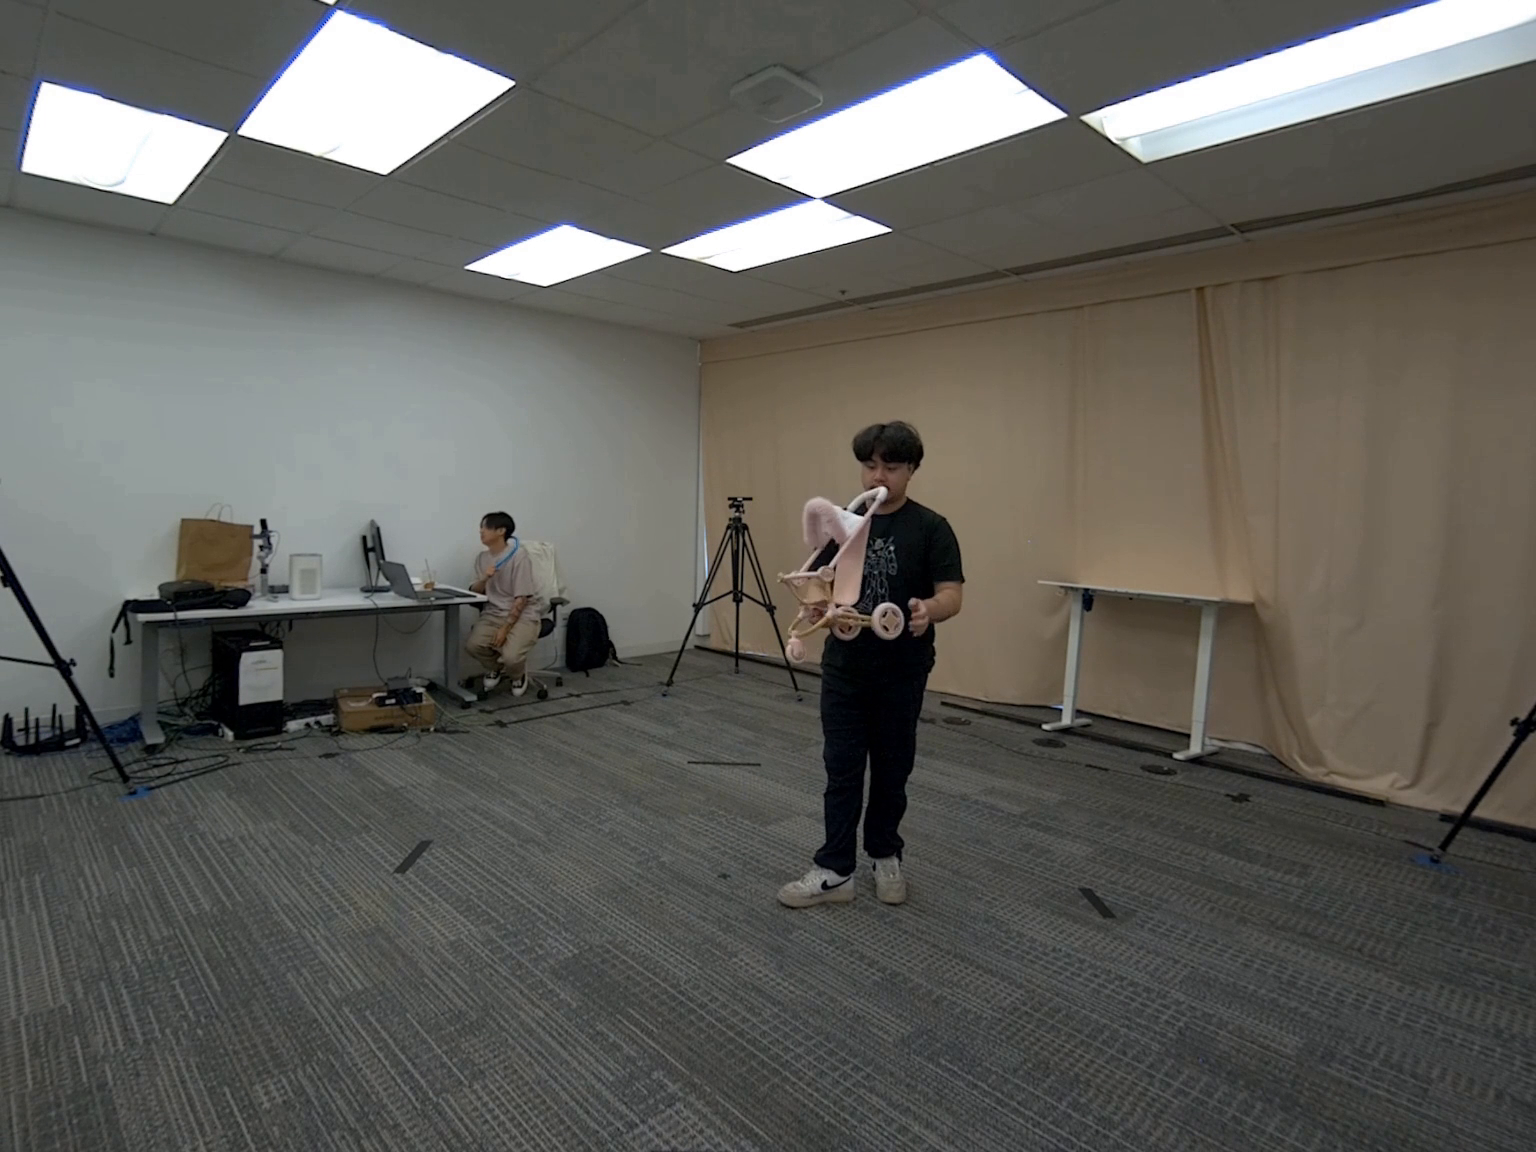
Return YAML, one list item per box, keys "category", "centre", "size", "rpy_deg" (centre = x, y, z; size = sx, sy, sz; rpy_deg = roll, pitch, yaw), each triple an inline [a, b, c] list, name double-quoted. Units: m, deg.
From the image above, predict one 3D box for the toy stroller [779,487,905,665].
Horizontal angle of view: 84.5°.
- category: "toy stroller"
  centre: [0.193, -0.003, 2.587]
  size: [0.336, 0.537, 0.284]
  rpy_deg: [-1, -4, -20]
